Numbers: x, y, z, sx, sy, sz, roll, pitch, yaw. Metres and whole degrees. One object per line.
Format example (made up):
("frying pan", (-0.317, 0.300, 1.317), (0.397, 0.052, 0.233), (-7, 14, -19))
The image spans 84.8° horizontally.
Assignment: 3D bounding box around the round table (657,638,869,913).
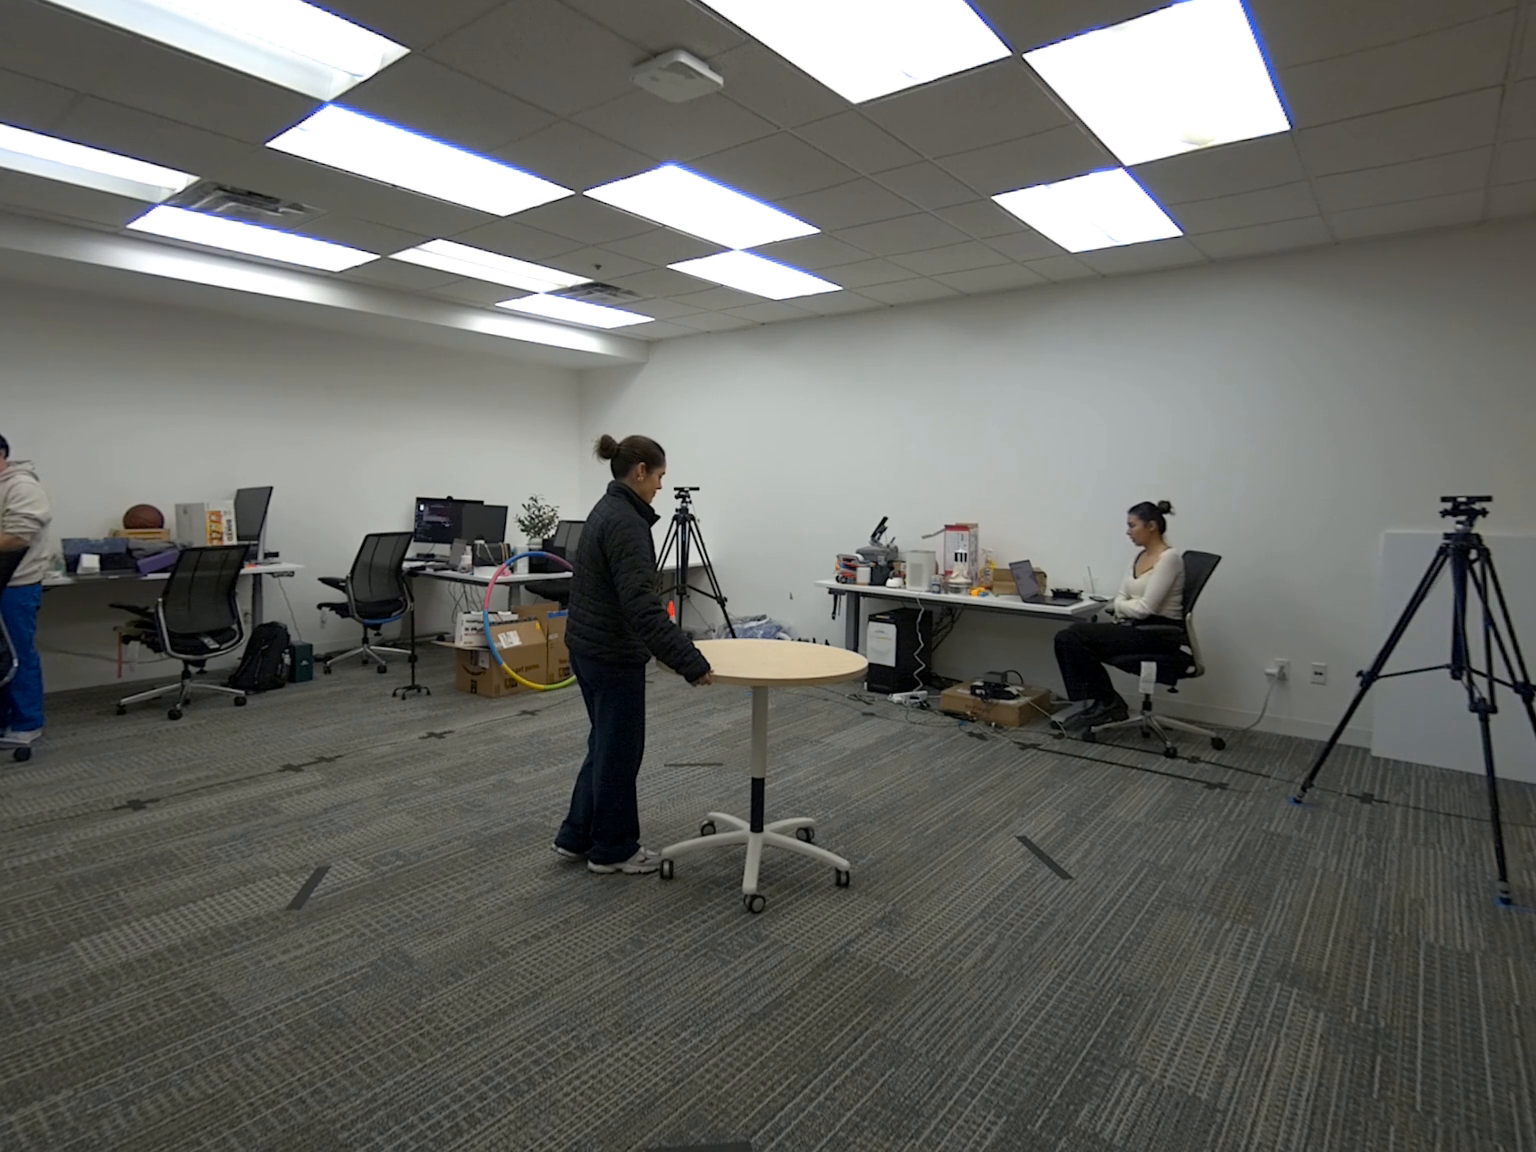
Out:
("round table", (-0.005, 0.676, 3.118), (0.784, 0.784, 0.789), (1, 4, -2))
